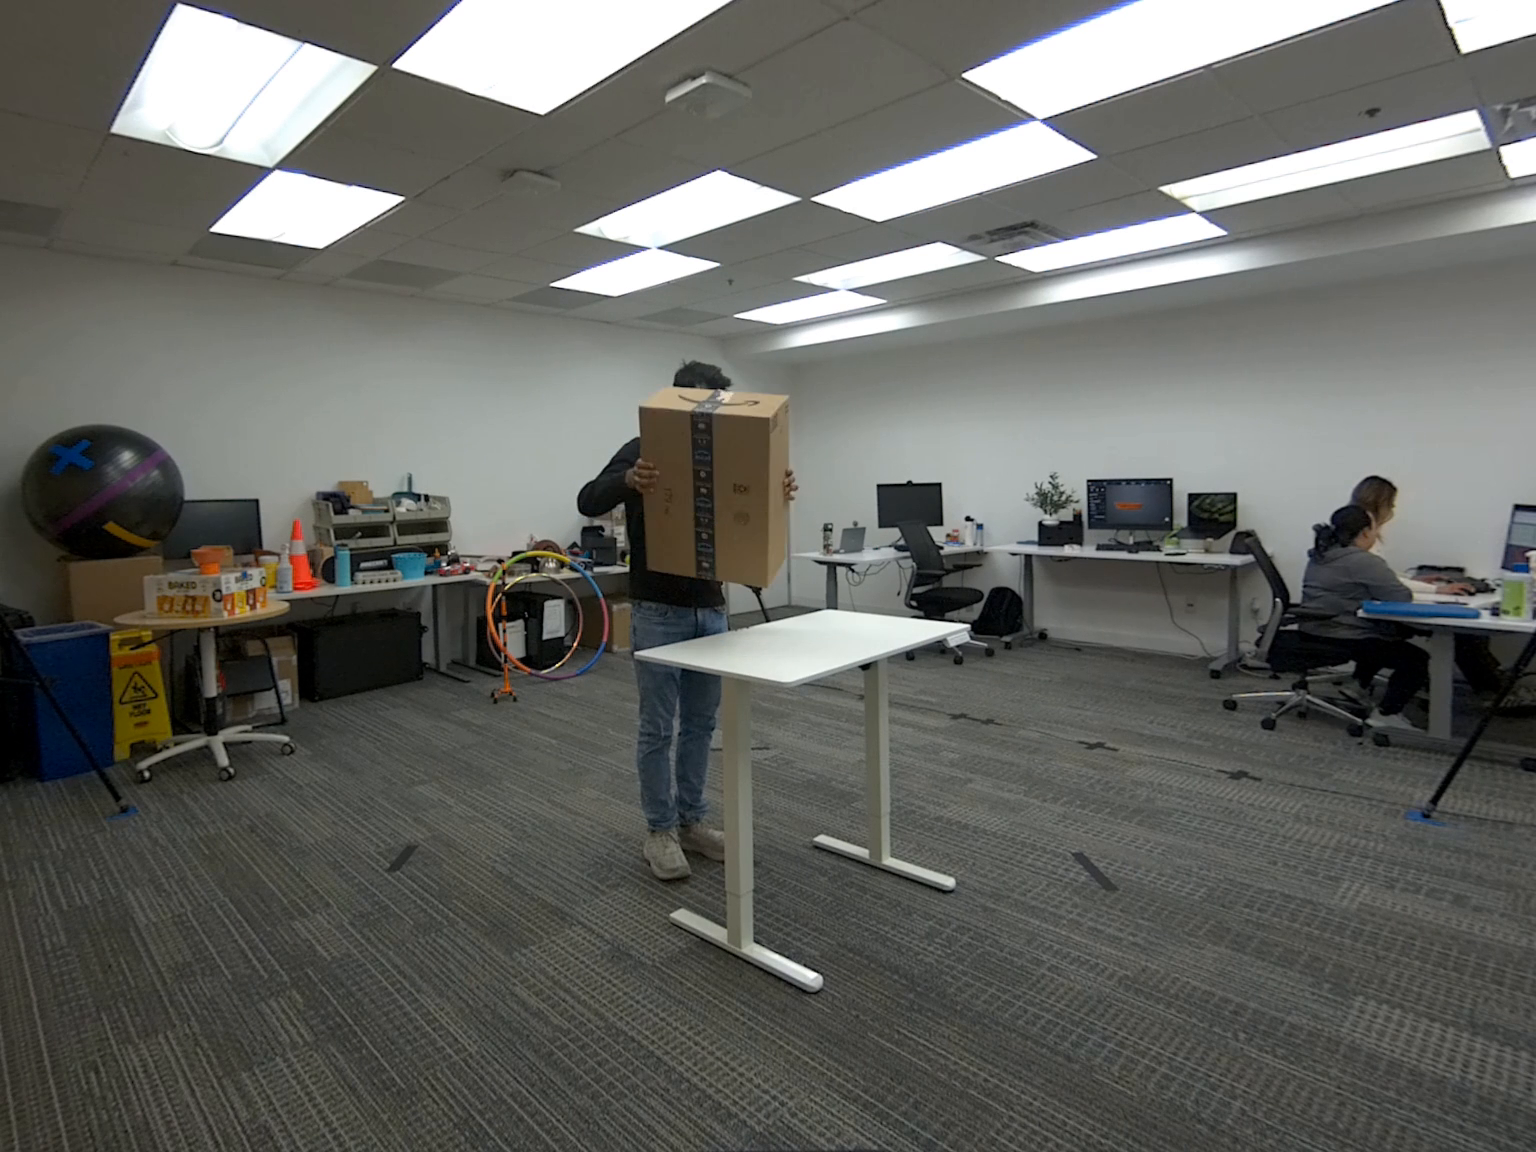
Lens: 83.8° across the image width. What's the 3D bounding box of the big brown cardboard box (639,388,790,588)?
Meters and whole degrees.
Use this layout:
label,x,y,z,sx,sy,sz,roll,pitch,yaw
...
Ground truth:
label,x,y,z,sx,sy,sz,roll,pitch,yaw
big brown cardboard box,-0.165,-0.275,2.710,0.425,0.576,0.234,10,29,16
